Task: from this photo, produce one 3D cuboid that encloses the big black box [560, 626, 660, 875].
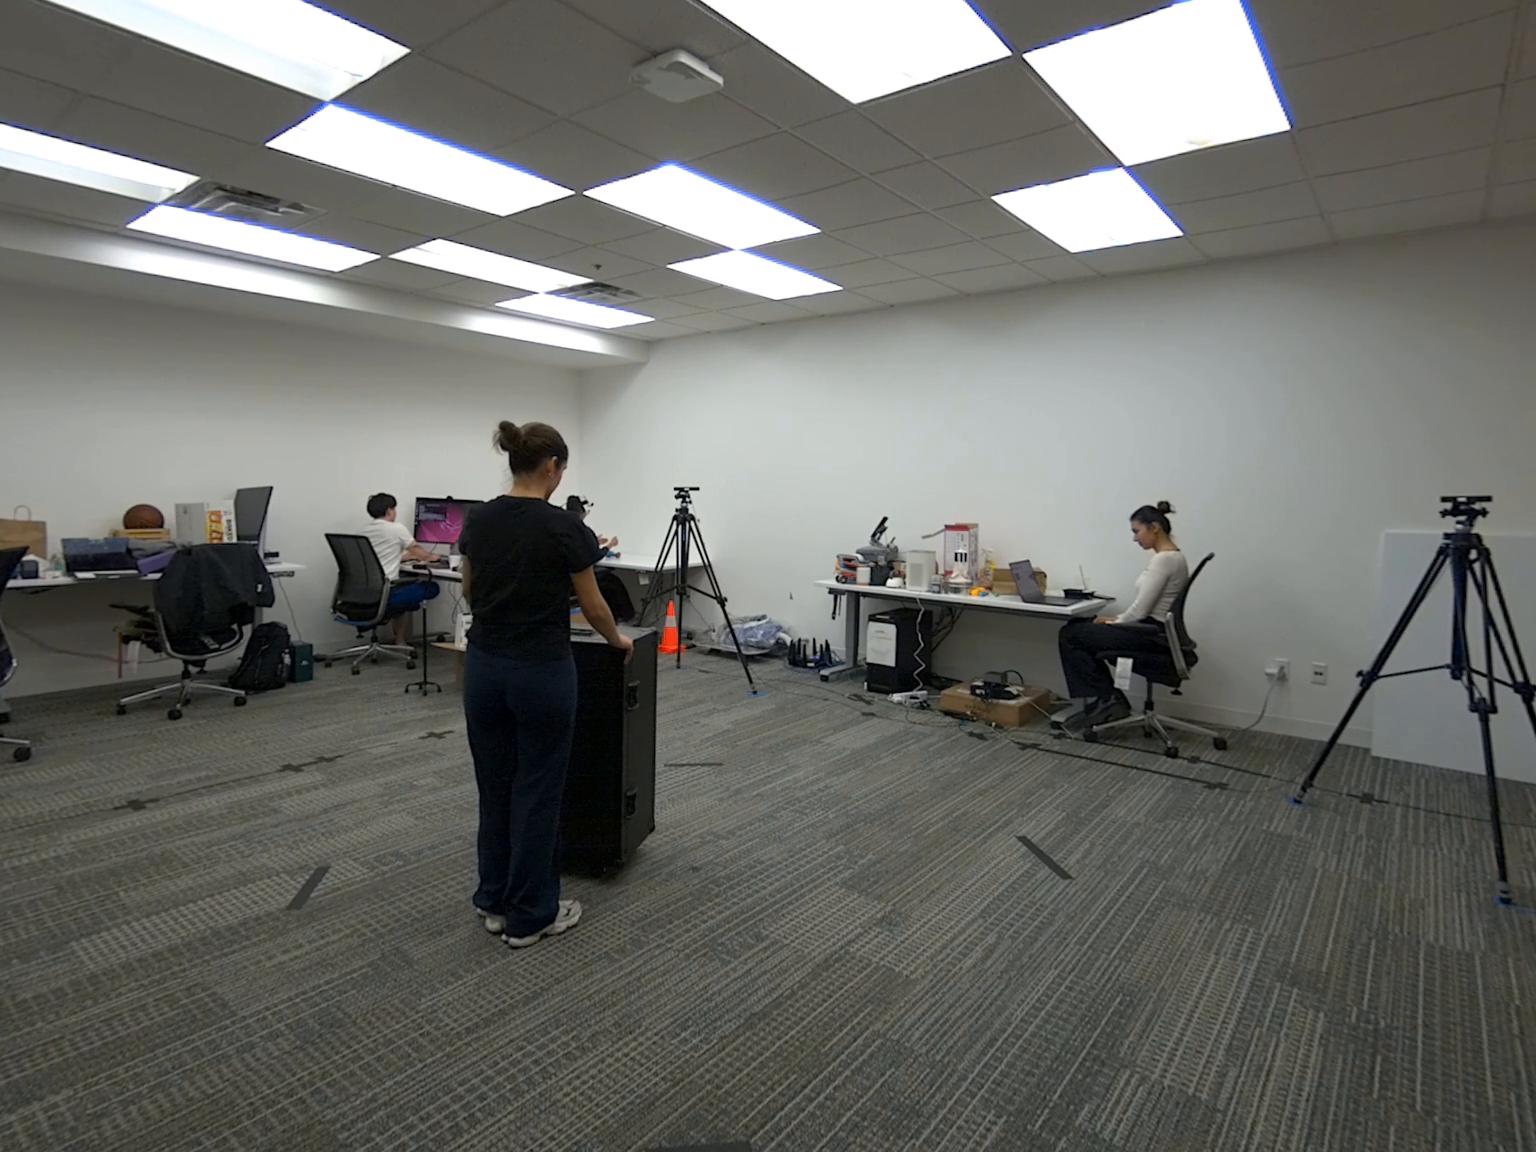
[{"bbox_3d":[-0.680,0.624,3.185,0.530,0.859,0.390,2,3,15],"label":"big black box"}]
